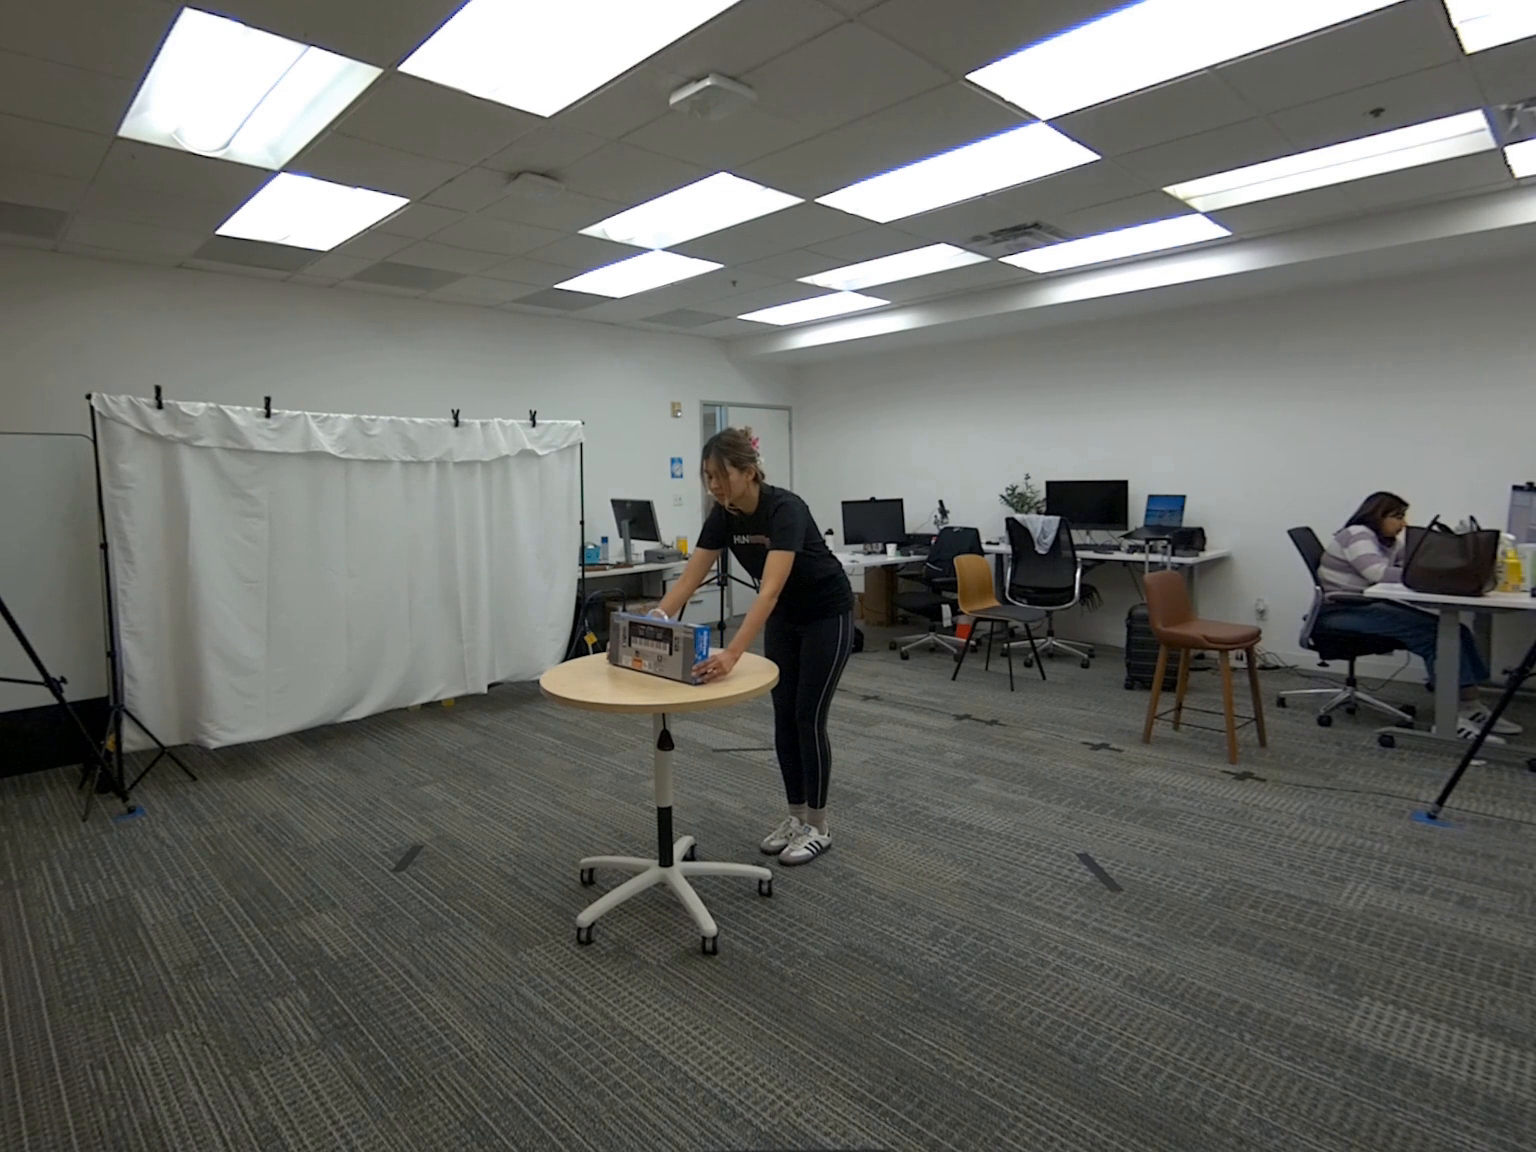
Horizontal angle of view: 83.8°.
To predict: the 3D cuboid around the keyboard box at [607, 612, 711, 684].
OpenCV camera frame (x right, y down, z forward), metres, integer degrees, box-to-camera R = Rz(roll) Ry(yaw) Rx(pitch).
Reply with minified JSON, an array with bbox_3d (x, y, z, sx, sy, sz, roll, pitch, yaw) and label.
[{"bbox_3d":[-0.355,0.226,2.739,0.057,0.176,0.450,3,2,-45],"label":"keyboard box"}]
